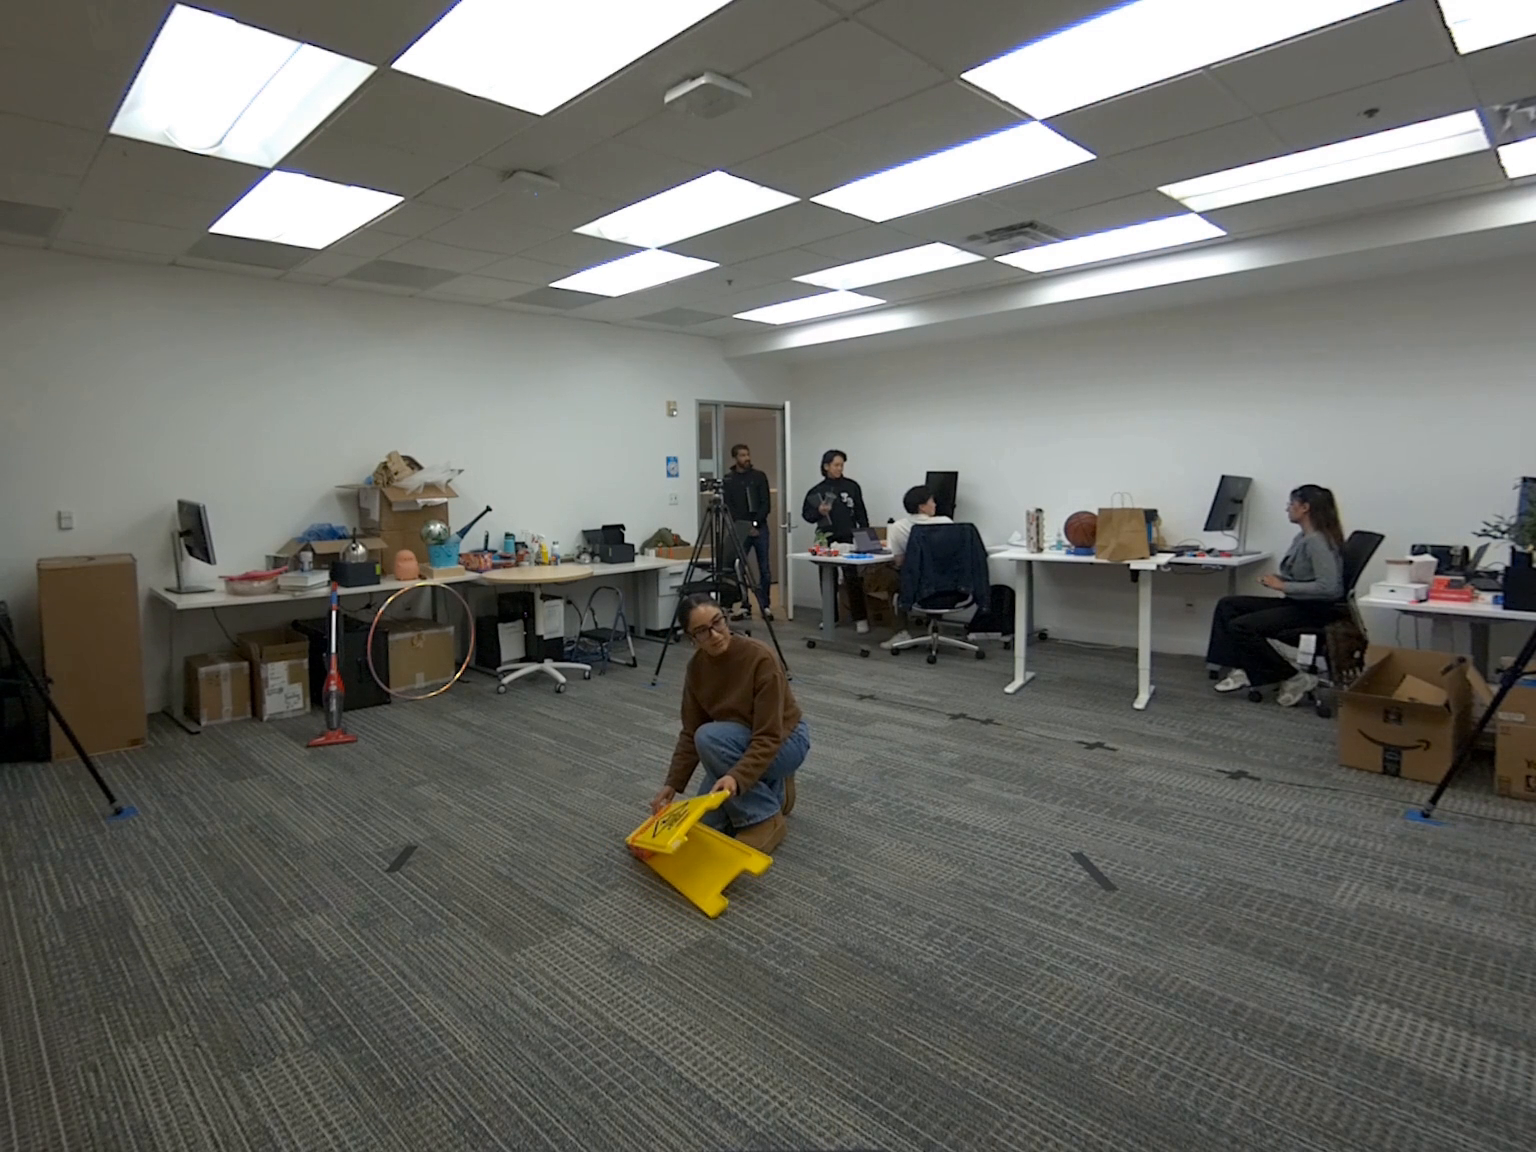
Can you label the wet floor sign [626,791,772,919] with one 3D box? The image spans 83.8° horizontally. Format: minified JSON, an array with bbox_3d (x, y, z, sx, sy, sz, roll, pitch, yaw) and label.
[{"bbox_3d":[-0.311,0.938,3.037,0.280,0.286,0.658,-37,12,-28],"label":"wet floor sign"}]
